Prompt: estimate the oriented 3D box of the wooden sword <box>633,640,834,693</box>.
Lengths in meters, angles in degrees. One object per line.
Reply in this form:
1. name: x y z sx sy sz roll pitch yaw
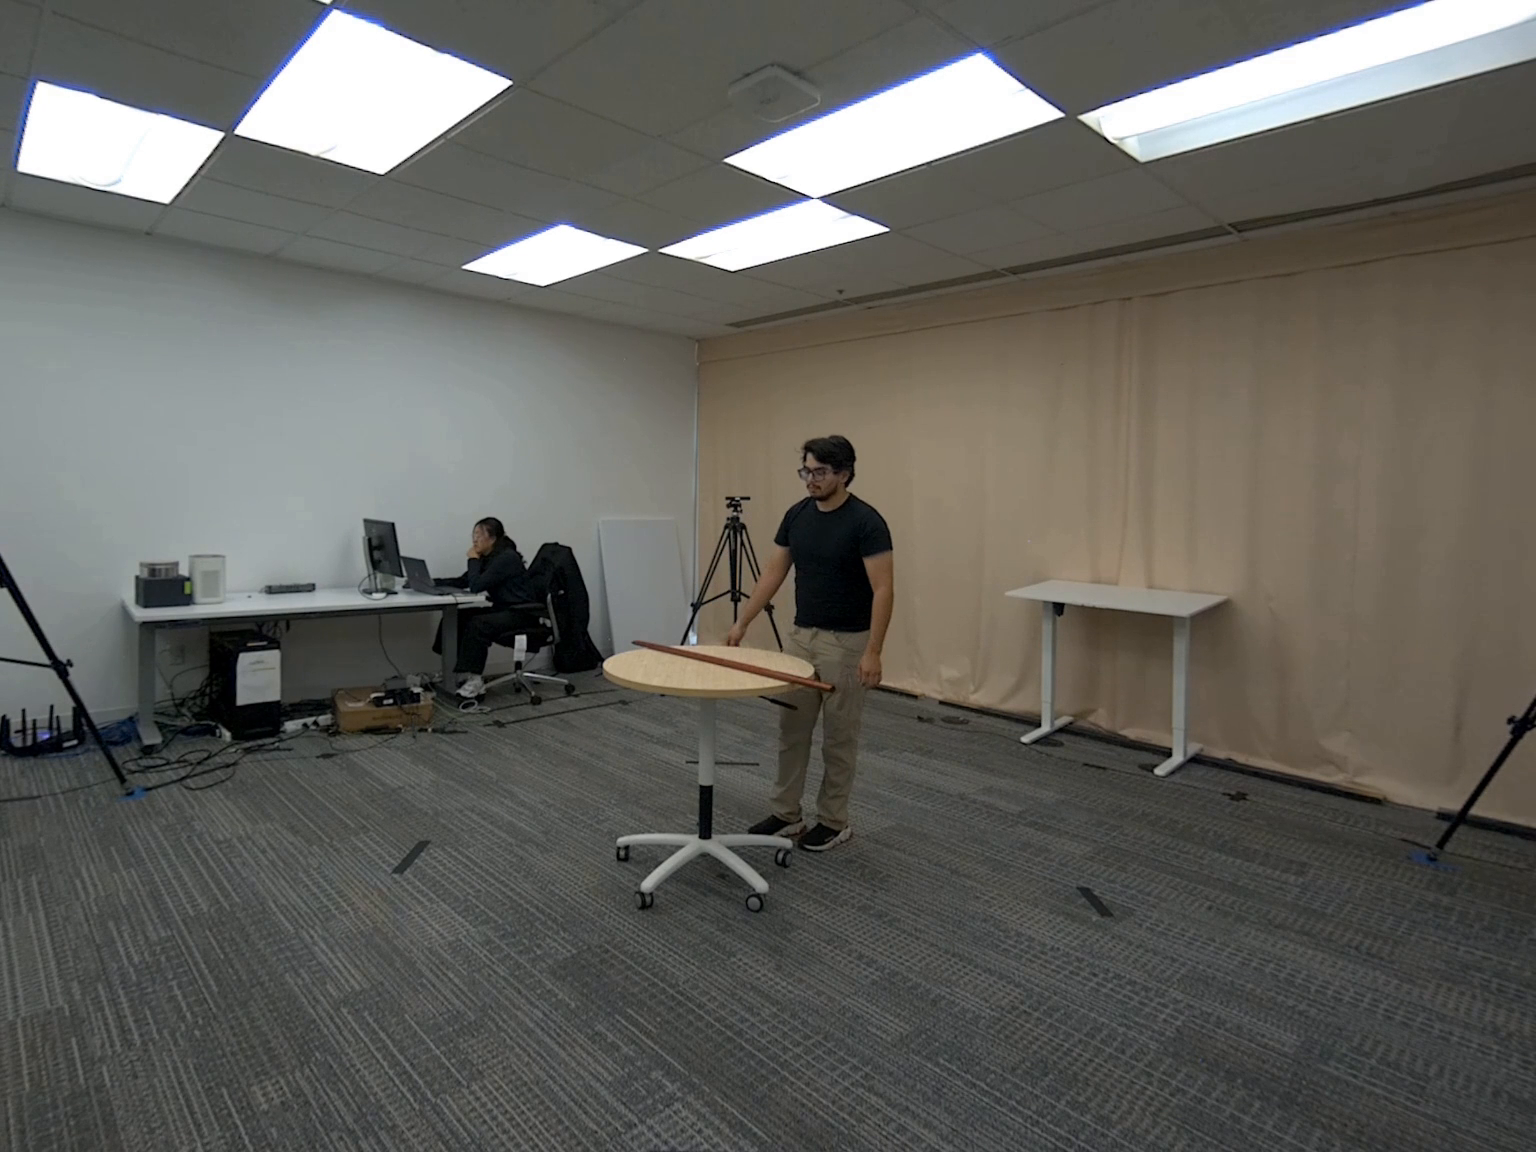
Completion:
1. wooden sword: -0.179 0.327 3.042 0.050 0.024 1.052 0 5 -44
